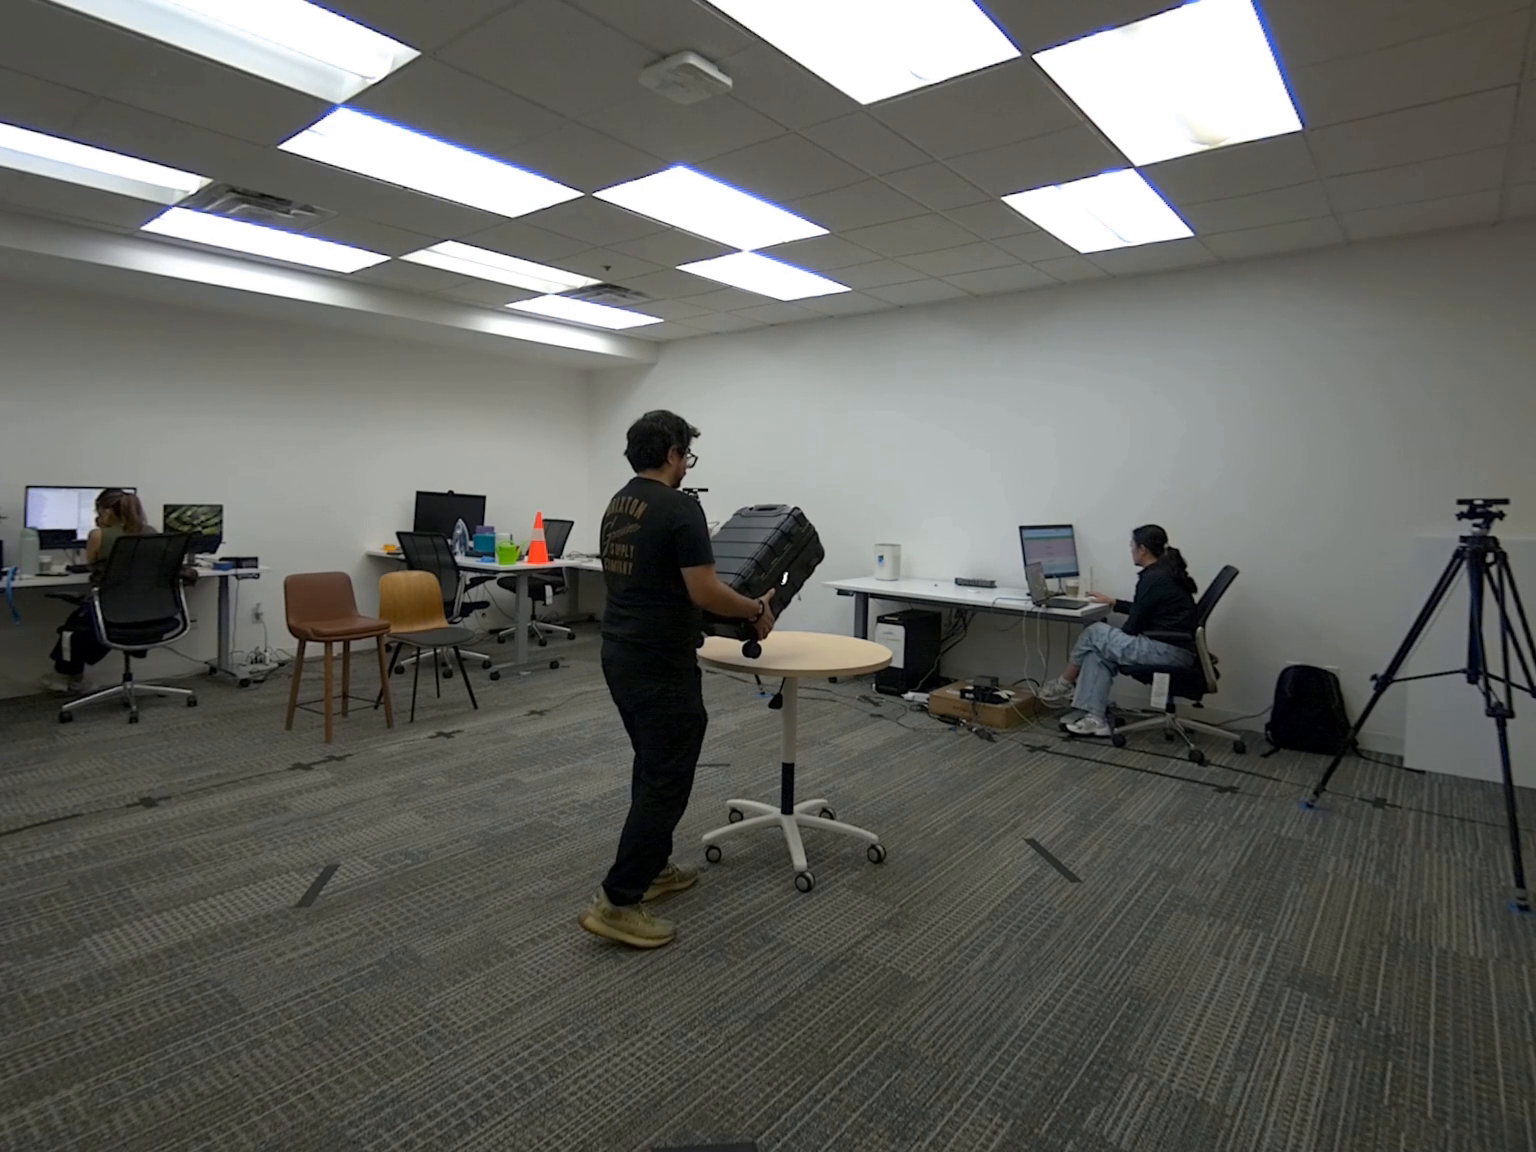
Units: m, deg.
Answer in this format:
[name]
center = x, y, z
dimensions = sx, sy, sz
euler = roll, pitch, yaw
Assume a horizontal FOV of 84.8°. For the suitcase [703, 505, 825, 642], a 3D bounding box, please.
[suitcase]
center = -0.078, -0.015, 3.053
dimensions = 0.387, 0.241, 0.549
euler = 1, 41, 48
